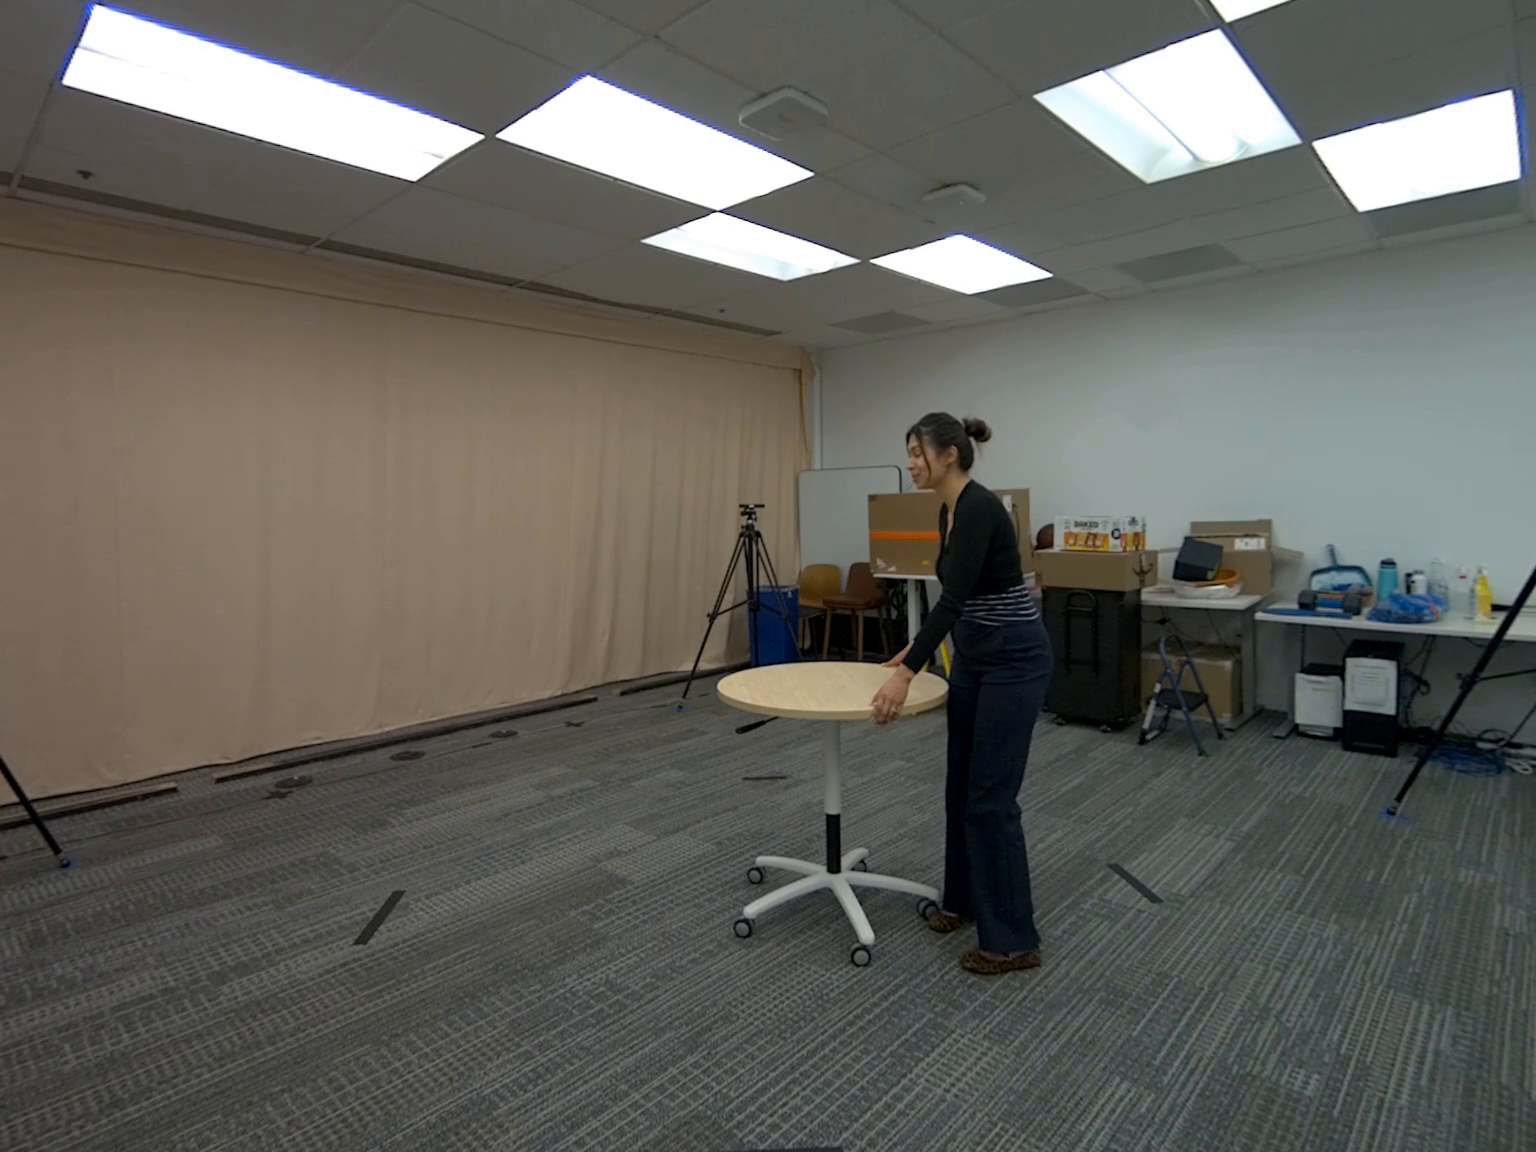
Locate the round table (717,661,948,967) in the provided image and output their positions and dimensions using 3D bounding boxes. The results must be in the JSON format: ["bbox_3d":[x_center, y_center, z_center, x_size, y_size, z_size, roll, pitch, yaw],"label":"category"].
[{"bbox_3d":[0.219,0.759,2.856,0.763,0.792,0.767,-1,4,-2],"label":"round table"}]
